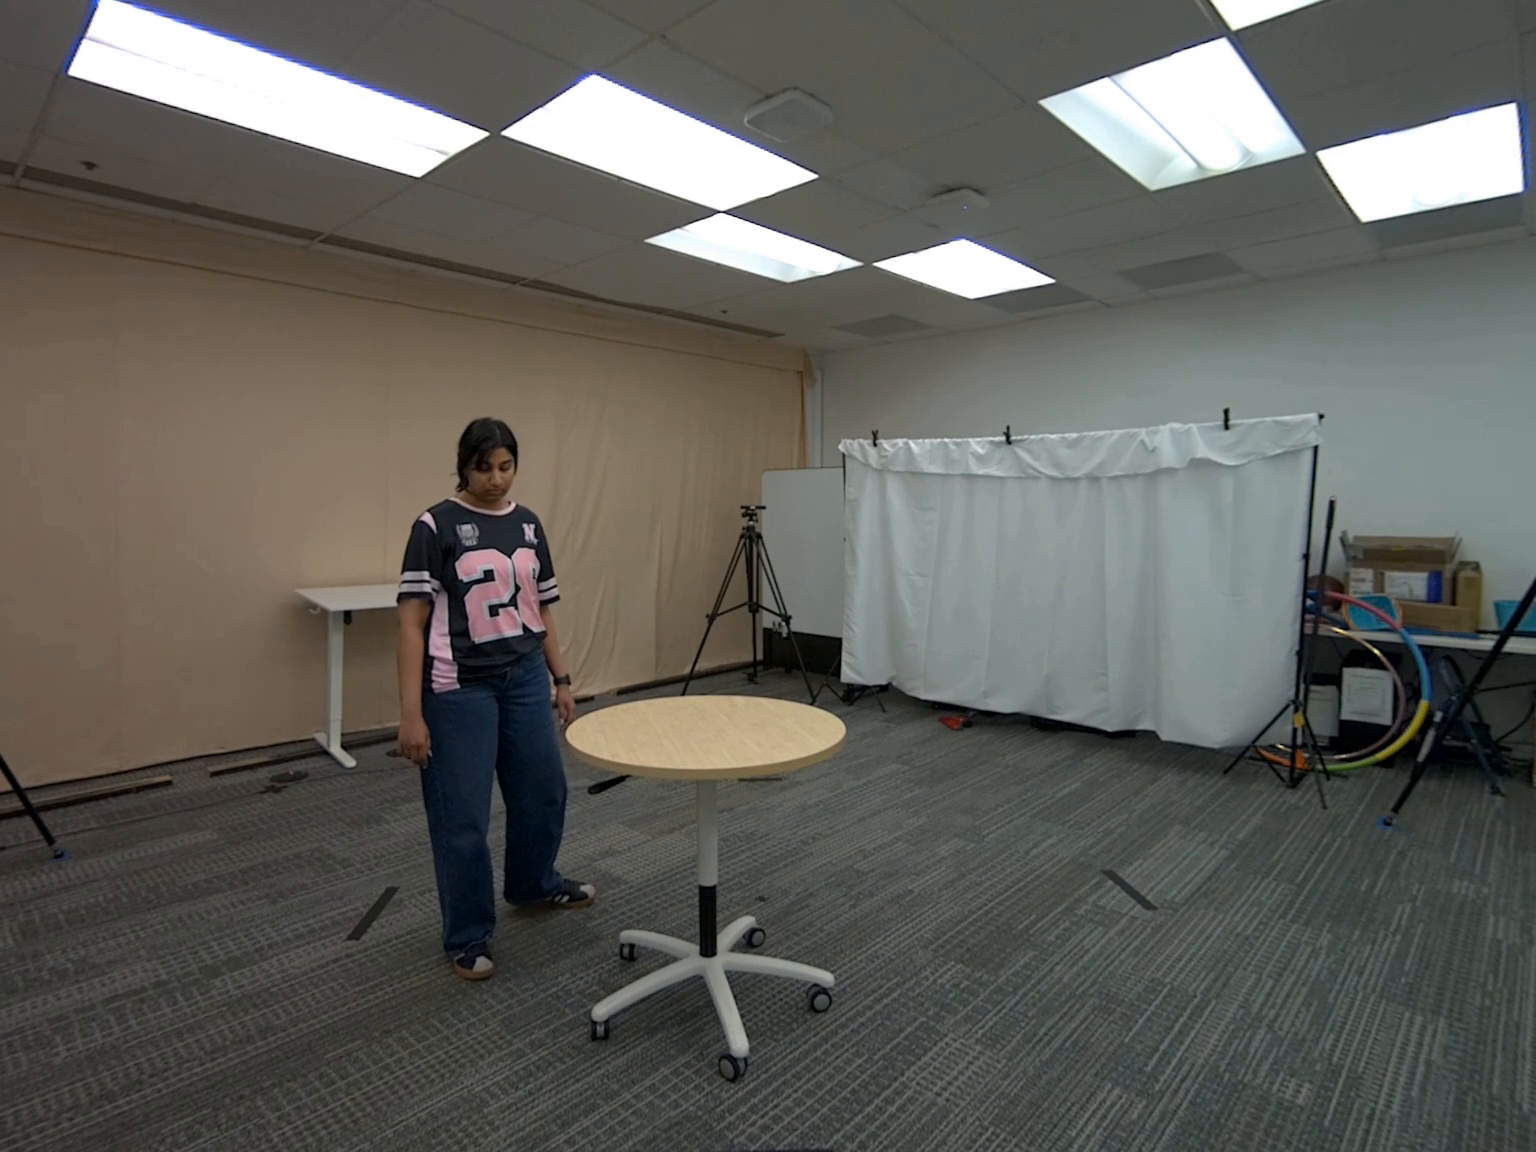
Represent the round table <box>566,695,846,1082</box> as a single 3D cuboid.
[{"bbox_3d":[-0.163,0.814,2.338,0.763,0.792,0.767,-1,4,-2],"label":"round table"}]
